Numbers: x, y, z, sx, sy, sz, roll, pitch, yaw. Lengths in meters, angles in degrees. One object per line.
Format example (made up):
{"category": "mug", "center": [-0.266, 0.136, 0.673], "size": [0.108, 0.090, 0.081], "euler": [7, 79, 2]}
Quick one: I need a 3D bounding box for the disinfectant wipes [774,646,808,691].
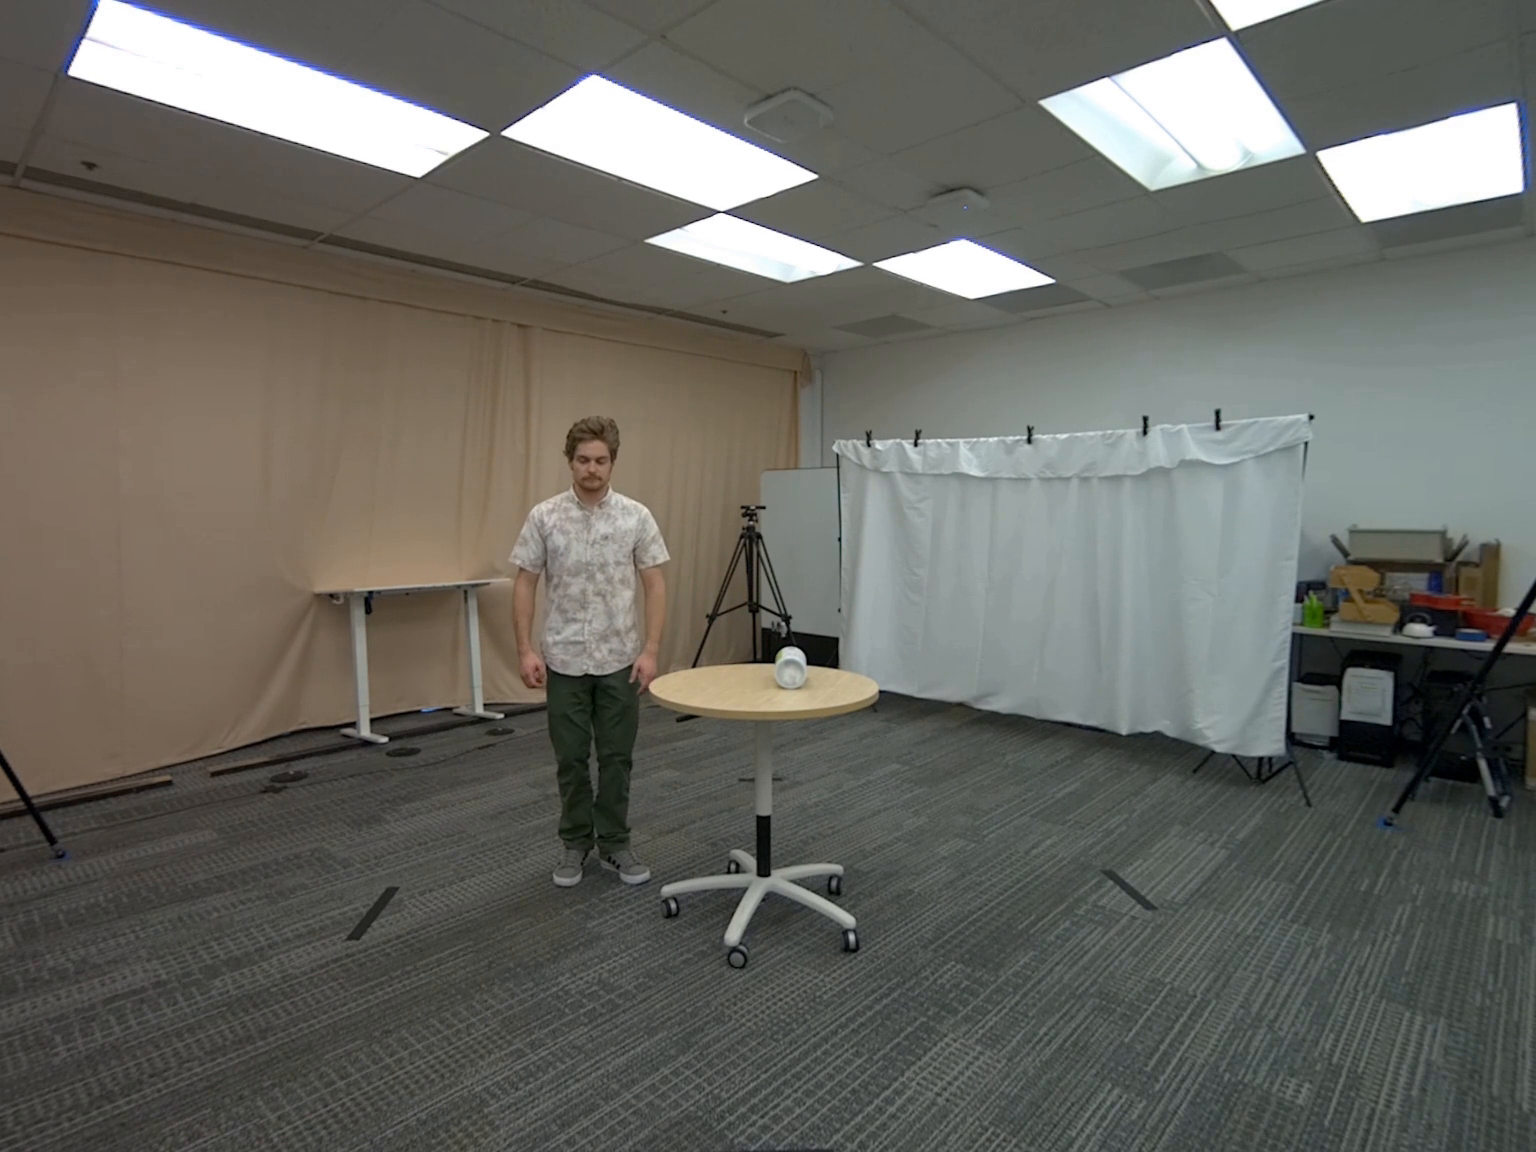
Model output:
{"category": "disinfectant wipes", "center": [0.081, 0.307, 2.844], "size": [0.118, 0.117, 0.217], "euler": [0, 4, 1]}
